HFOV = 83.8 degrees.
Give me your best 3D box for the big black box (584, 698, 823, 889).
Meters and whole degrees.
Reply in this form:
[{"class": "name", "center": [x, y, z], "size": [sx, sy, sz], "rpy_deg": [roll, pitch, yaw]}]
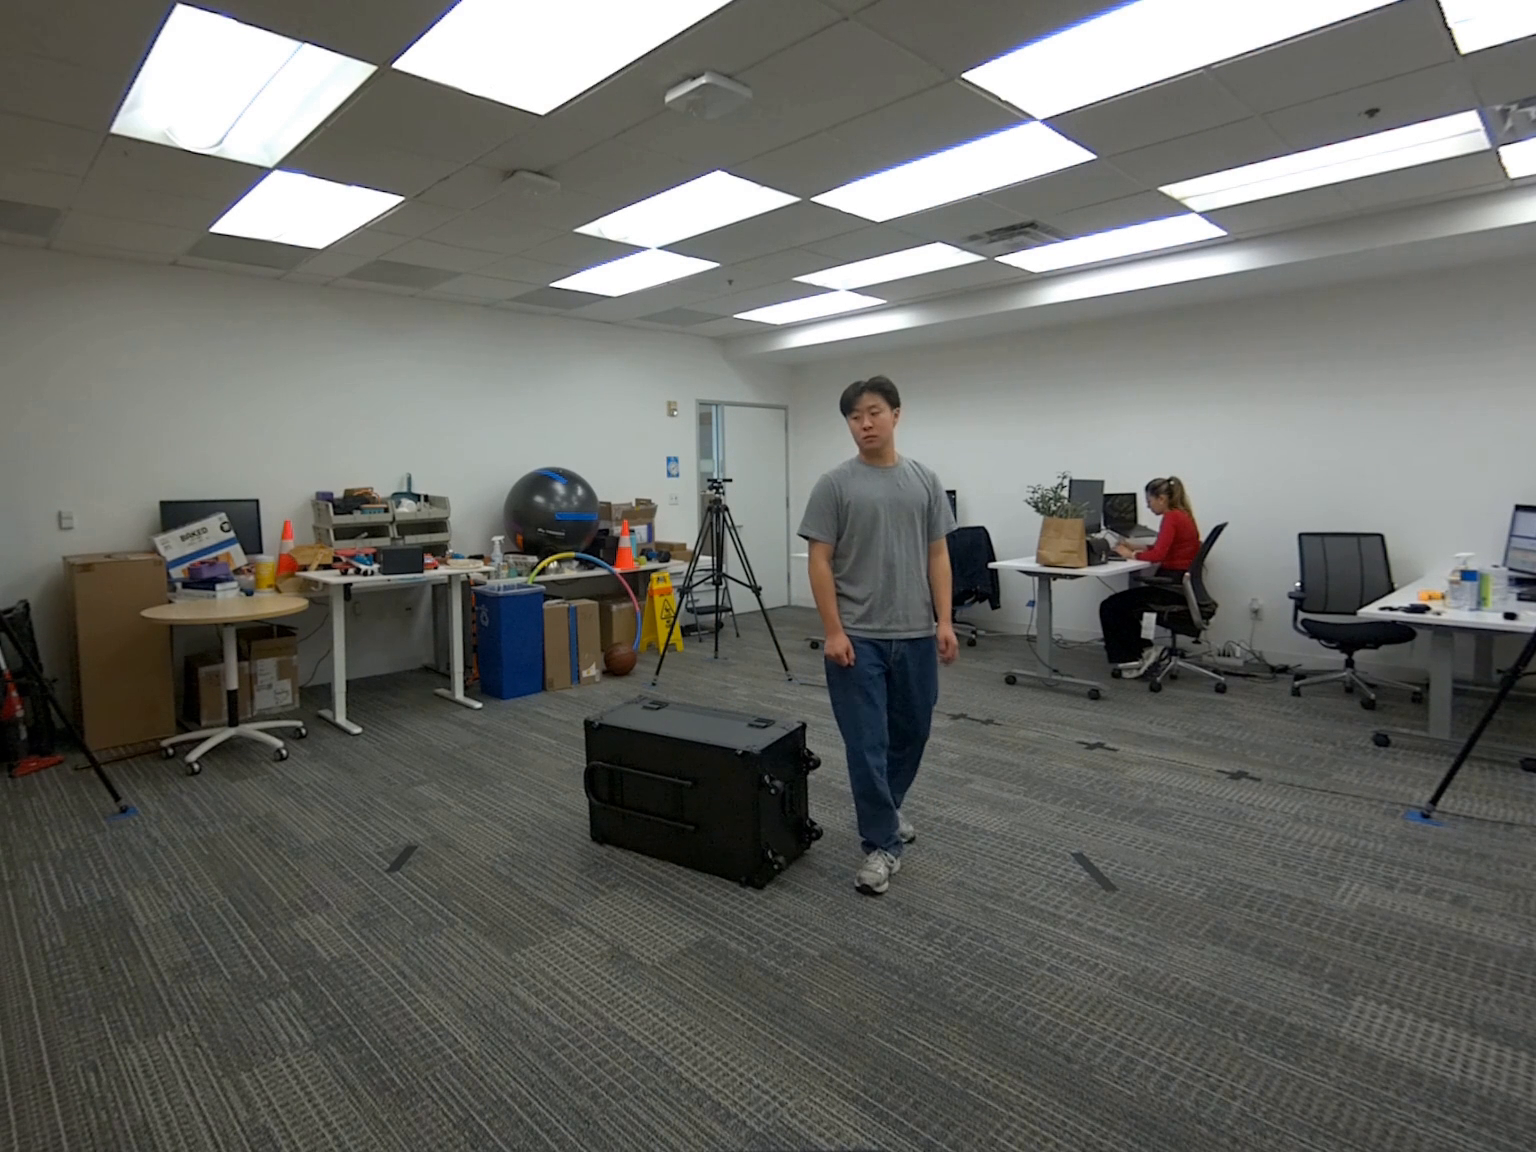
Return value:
[{"class": "big black box", "center": [-0.255, 0.781, 3.211], "size": [0.885, 0.518, 0.388], "rpy_deg": [2, 8, 32]}]
